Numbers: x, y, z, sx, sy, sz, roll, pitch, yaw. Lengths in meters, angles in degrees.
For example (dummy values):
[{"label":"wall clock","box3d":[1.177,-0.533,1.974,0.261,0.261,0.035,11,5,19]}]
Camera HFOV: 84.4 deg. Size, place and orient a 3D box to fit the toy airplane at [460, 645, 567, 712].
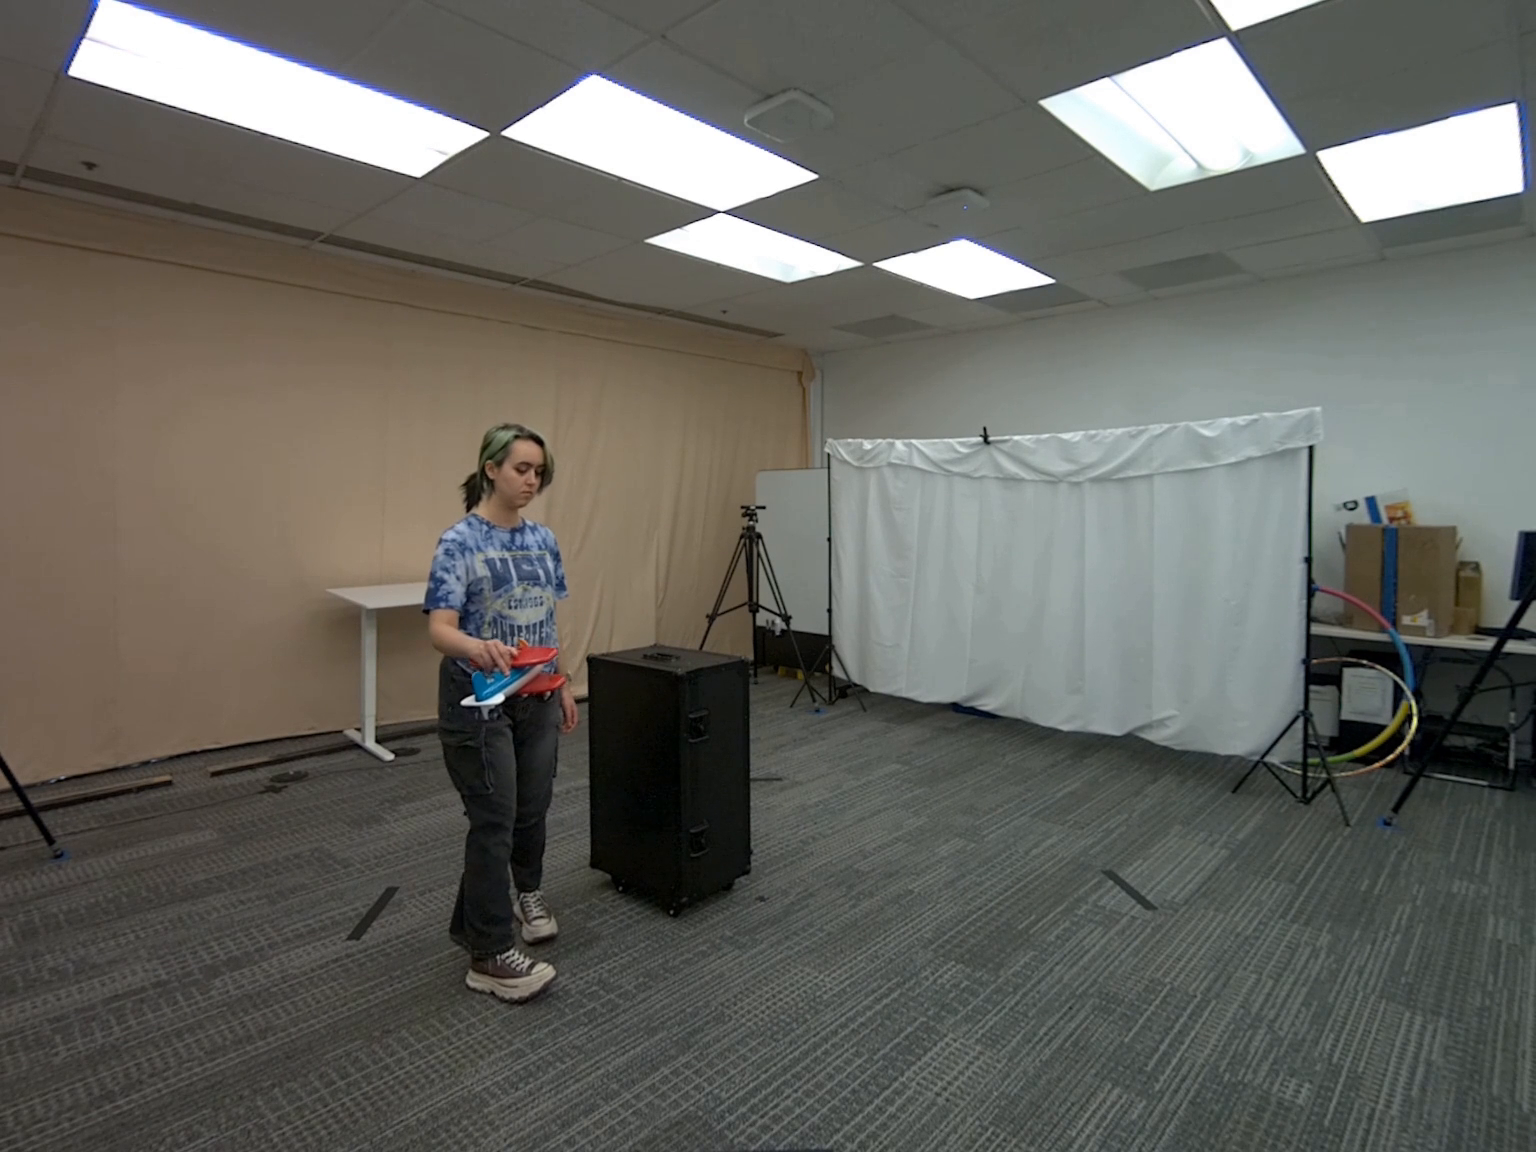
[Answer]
[{"label":"toy airplane","box3d":[-0.642,0.268,2.131,0.250,0.156,0.261,-3,2,-5]}]
